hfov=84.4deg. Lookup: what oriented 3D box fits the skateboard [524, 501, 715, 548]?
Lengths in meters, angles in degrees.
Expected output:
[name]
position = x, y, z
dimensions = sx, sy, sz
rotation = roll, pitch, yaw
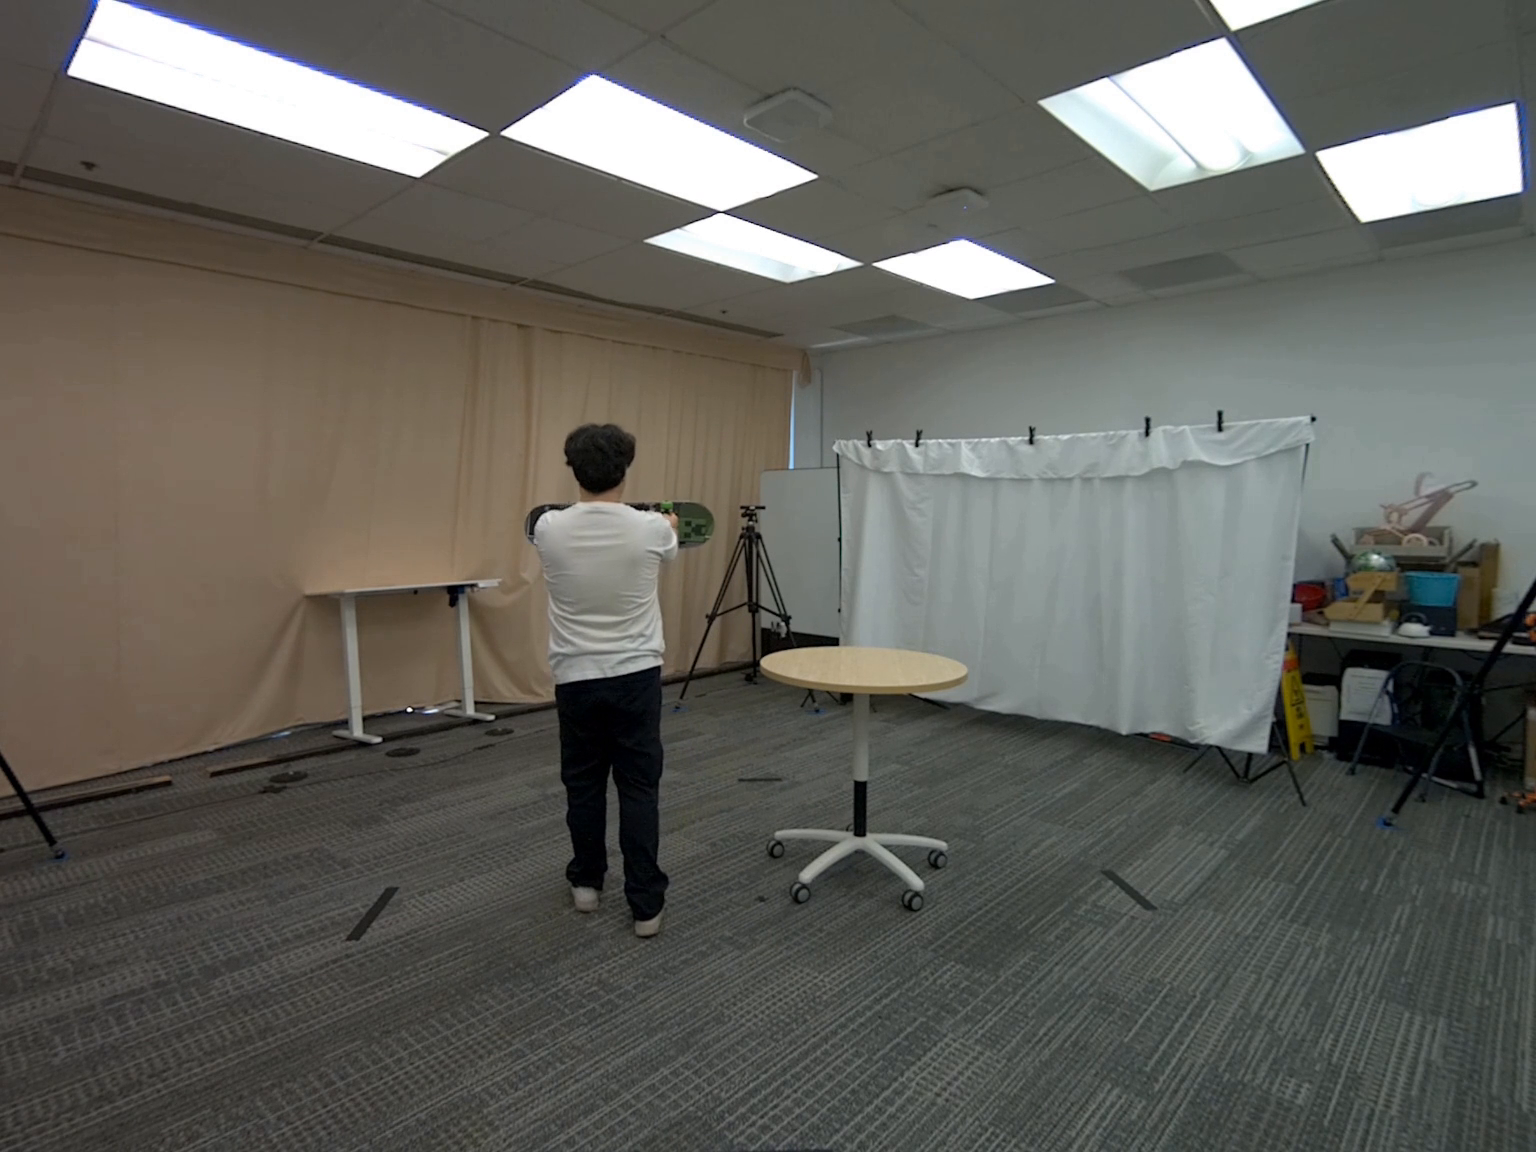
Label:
[skateboard]
position = -0.604, -0.199, 3.425
dimensions = 0.784, 0.194, 0.110
rotation = -1, -2, -1
